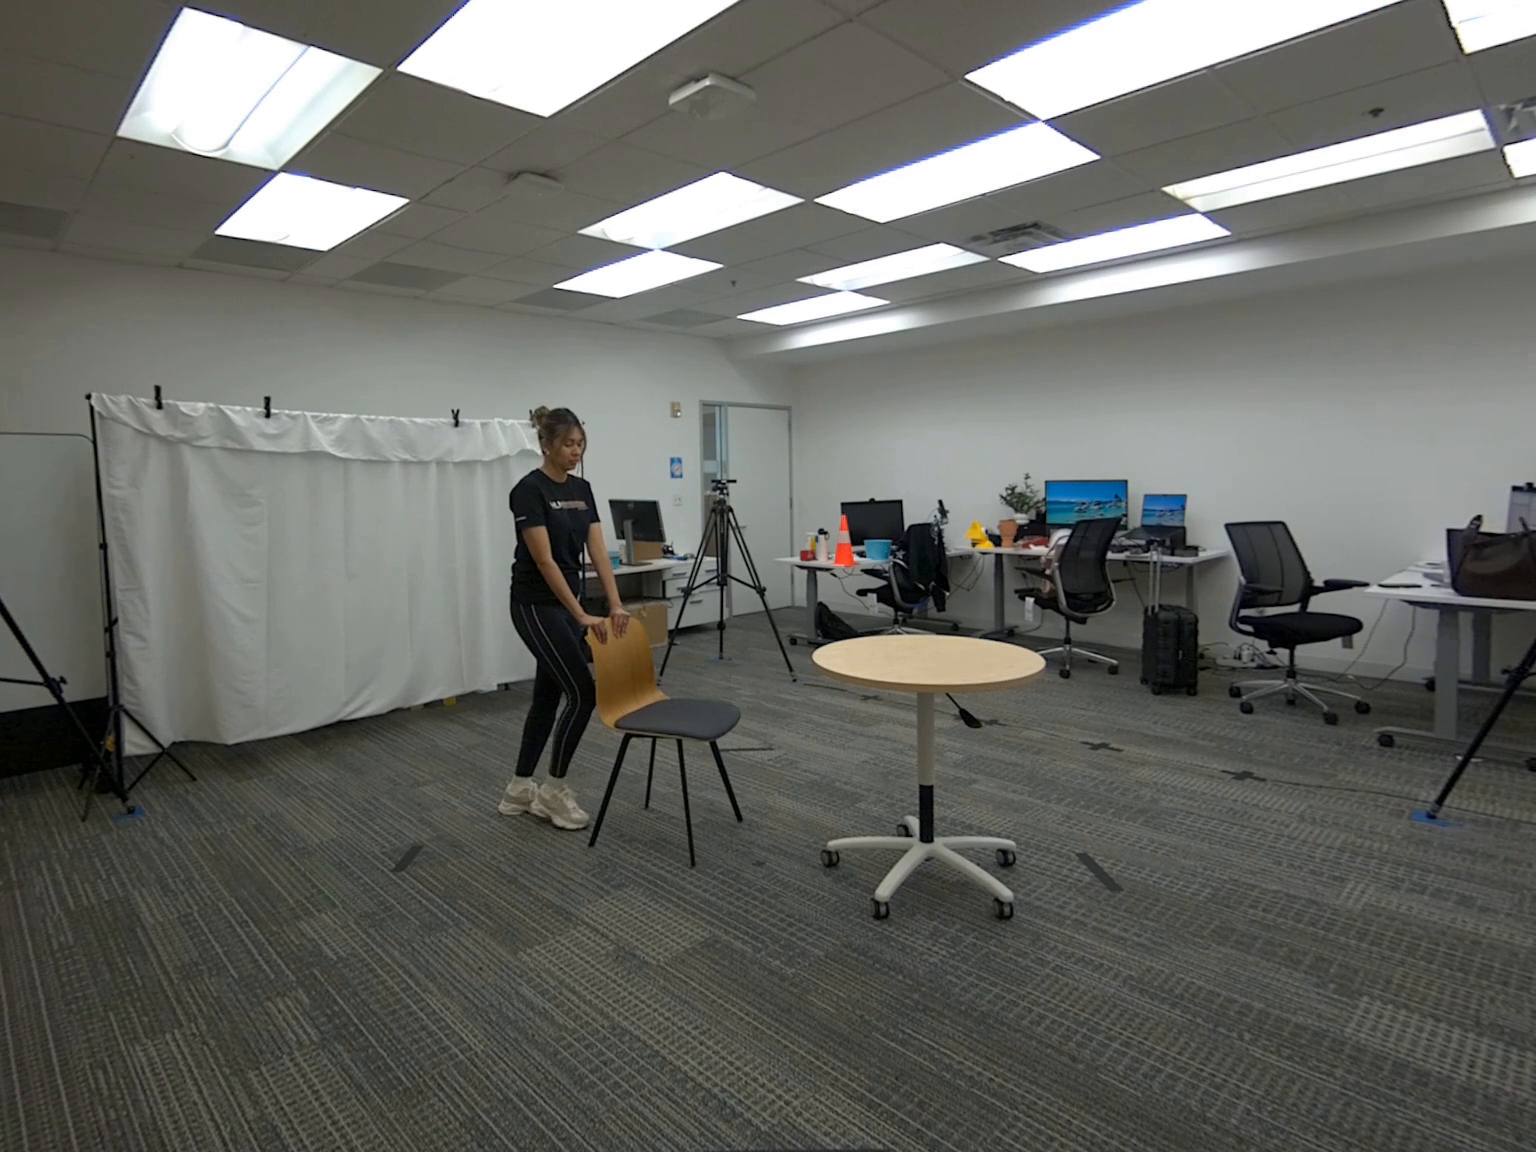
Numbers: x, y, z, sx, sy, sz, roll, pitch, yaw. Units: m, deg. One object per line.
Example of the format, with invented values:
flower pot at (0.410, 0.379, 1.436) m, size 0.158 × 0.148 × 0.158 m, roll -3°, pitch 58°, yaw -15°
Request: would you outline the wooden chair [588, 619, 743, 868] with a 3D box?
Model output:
wooden chair at (-0.396, 0.599, 3.355) m, size 0.534 × 0.876 × 0.469 m, roll -4°, pitch 2°, yaw 24°
